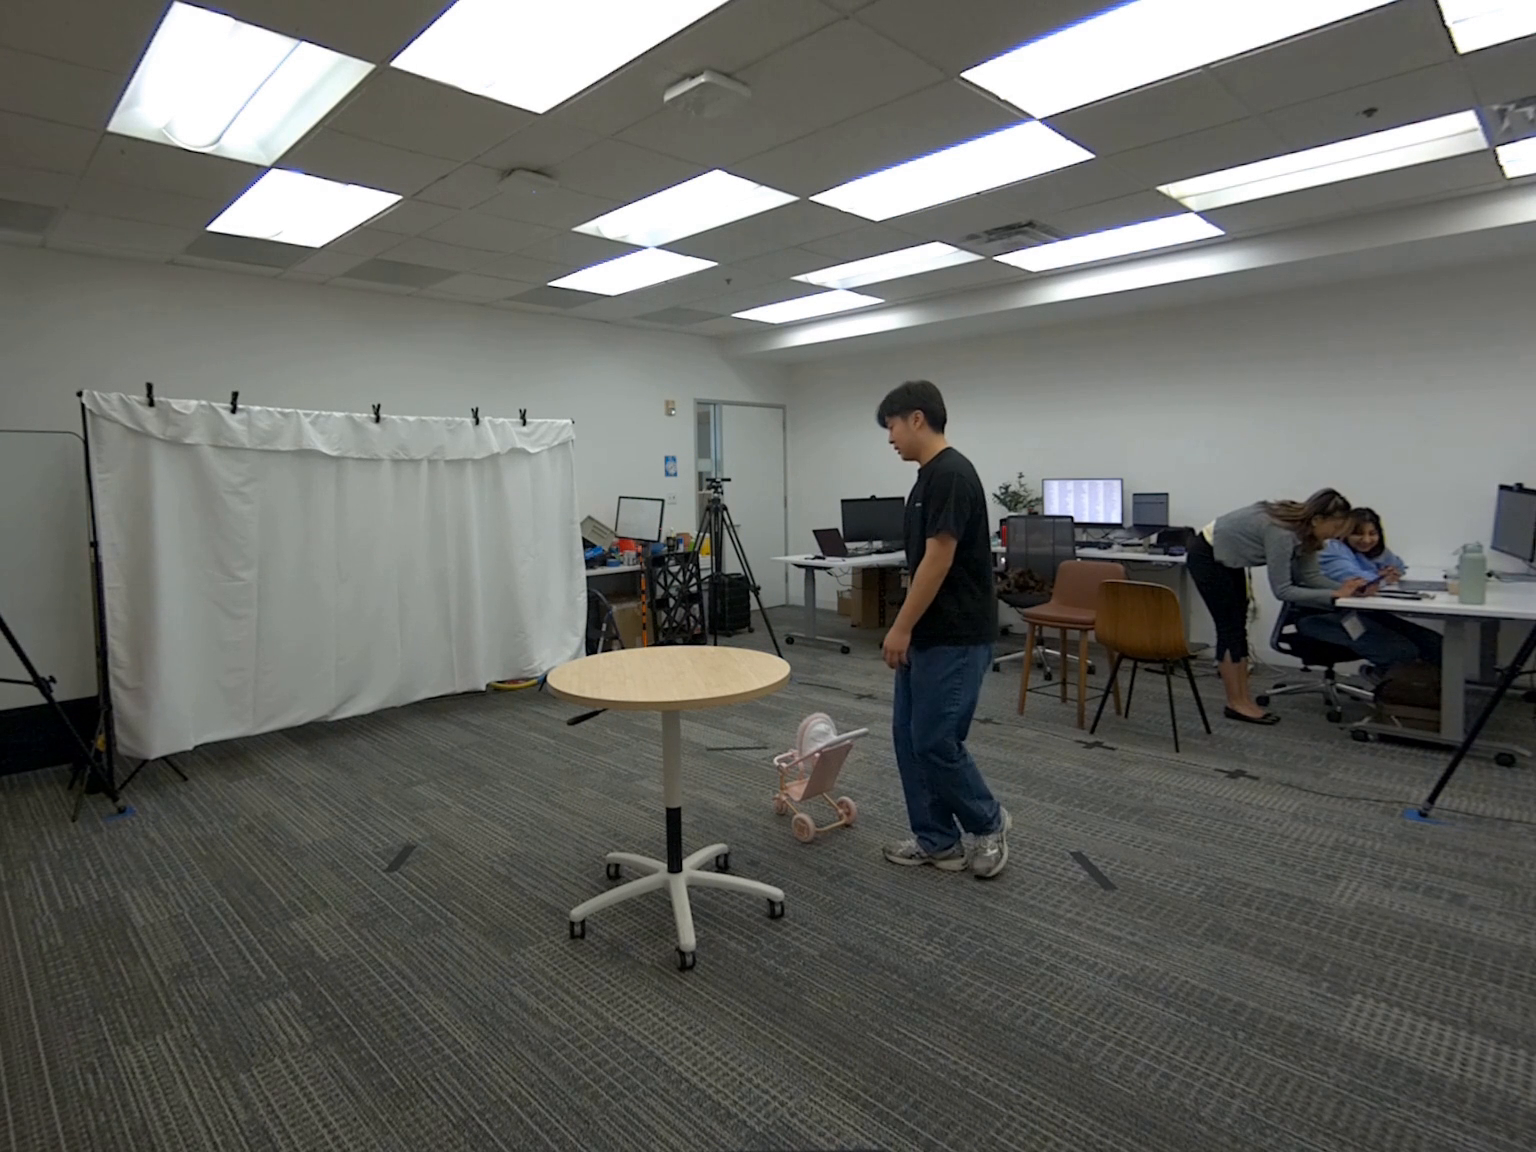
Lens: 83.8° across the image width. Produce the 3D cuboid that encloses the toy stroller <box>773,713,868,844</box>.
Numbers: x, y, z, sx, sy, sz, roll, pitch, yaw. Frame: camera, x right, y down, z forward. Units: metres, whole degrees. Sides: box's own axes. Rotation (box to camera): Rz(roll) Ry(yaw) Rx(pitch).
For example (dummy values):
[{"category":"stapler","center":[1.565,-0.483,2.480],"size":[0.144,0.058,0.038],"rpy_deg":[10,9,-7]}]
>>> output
[{"category":"toy stroller","center":[0.185,0.779,3.399],"size":[0.274,0.528,0.354],"rpy_deg":[-4,21,-38]}]
